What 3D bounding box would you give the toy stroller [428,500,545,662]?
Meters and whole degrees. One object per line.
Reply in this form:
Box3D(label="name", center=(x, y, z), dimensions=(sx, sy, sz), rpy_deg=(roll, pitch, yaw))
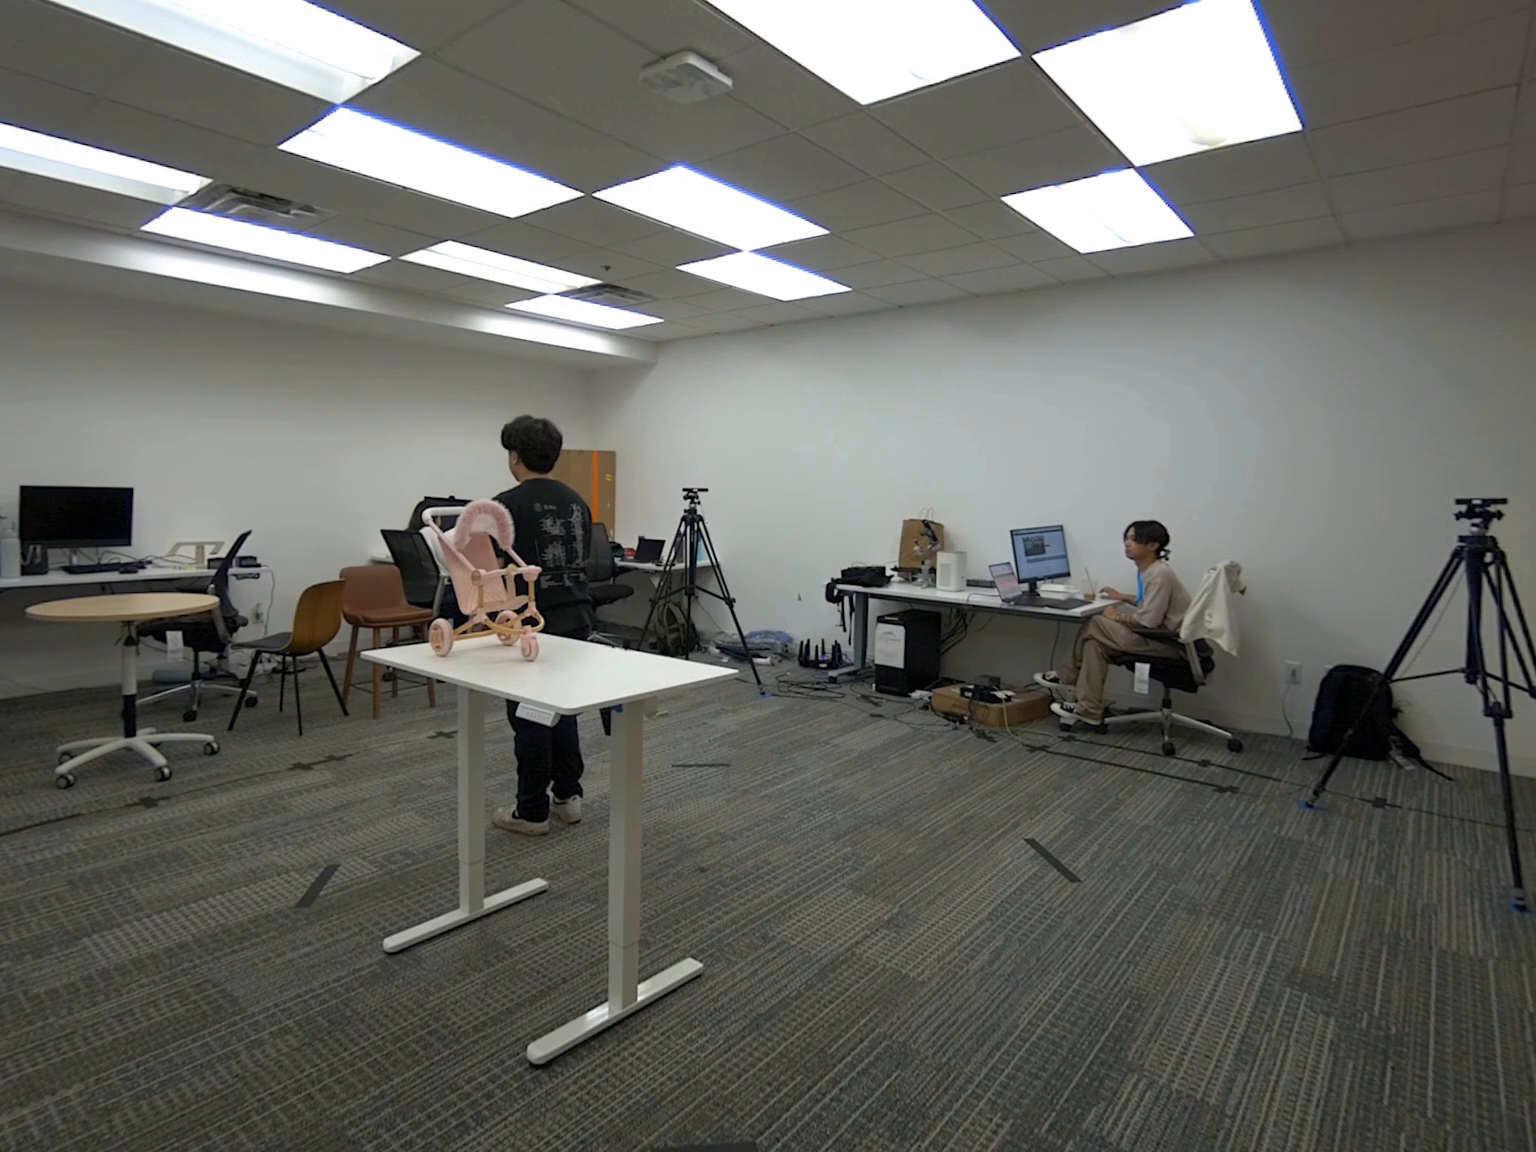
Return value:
Box3D(label="toy stroller", center=(-0.854, 0.006, 2.563), dimensions=(0.349, 0.539, 0.273), rpy_deg=(-16, -9, 40))
